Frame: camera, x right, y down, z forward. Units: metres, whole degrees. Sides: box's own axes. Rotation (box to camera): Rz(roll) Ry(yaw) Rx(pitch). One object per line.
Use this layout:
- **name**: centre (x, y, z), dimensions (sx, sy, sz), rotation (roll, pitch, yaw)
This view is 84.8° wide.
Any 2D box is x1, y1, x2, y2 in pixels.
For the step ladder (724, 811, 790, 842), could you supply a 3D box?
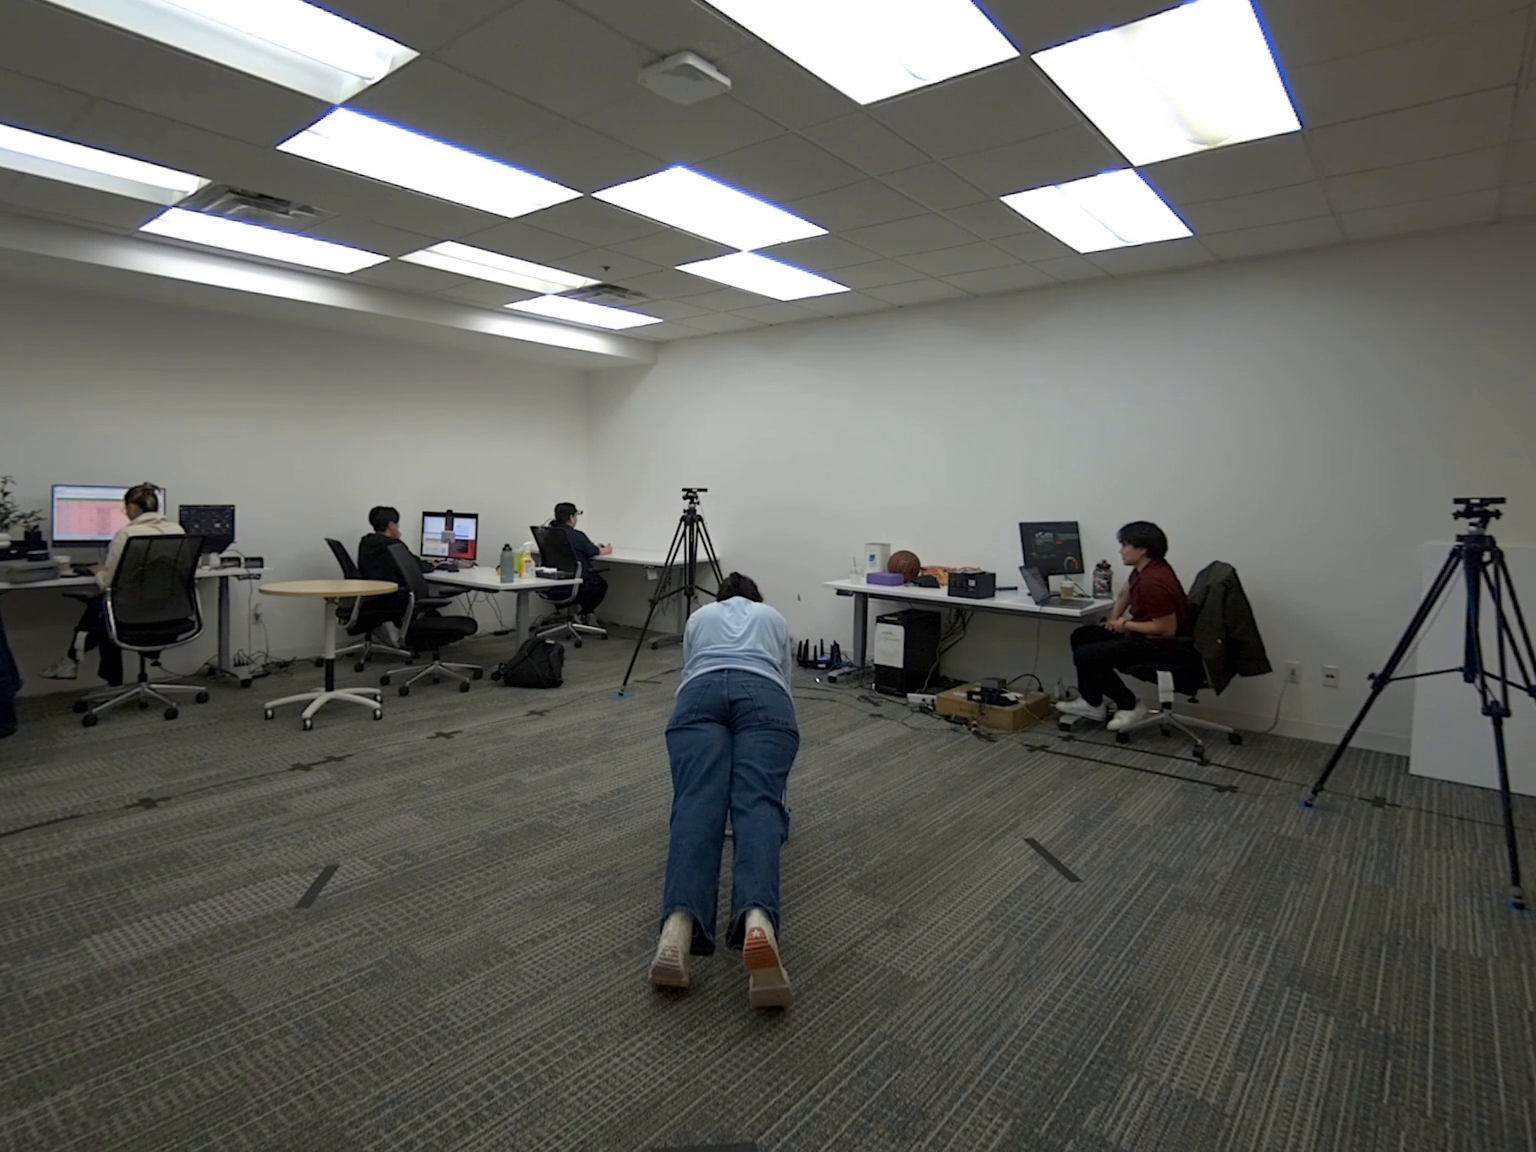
- **step ladder**: centre (-0.125, 0.724, 3.549), dimensions (0.433, 0.604, 0.349), rotation (1, 3, 3)
